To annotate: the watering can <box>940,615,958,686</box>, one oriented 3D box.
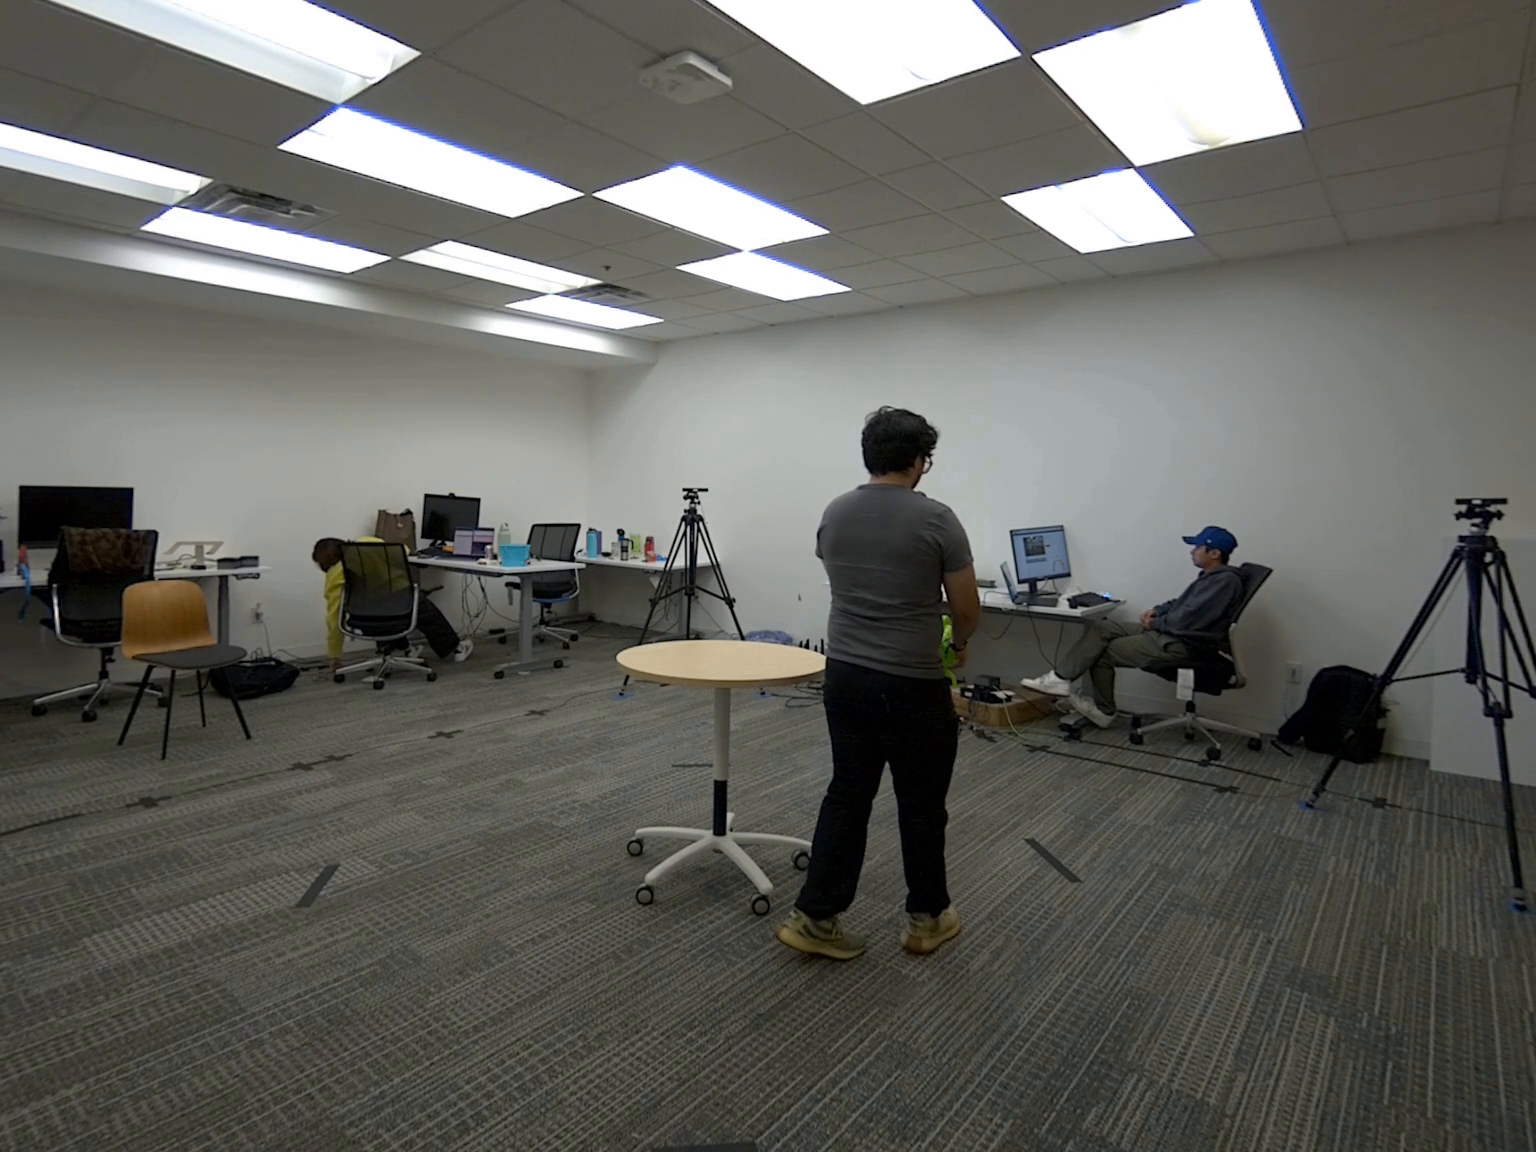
[{"bbox_3d":[0.601,0.270,2.872,0.100,0.275,0.175,-18,11,34],"label":"watering can"}]
